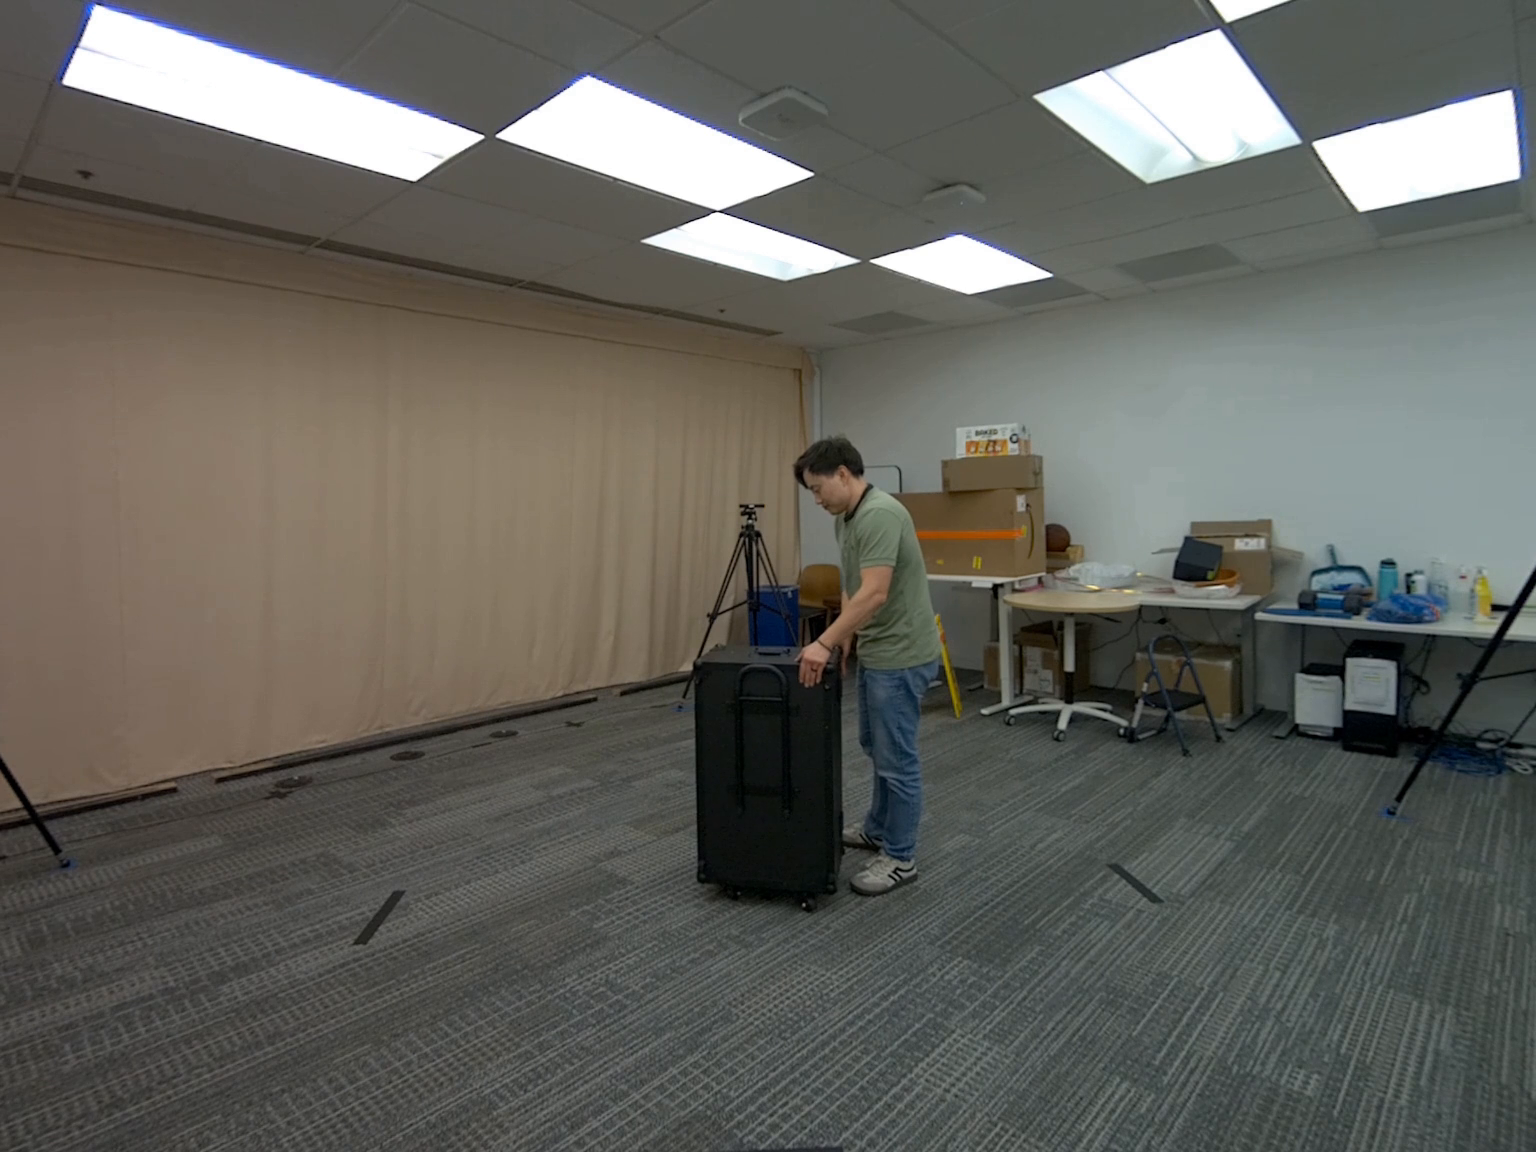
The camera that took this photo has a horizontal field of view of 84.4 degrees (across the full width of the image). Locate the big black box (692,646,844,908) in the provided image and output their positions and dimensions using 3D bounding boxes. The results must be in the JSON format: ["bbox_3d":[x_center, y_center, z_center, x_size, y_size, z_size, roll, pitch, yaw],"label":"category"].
[{"bbox_3d":[0.016,0.708,3.025,0.528,0.860,0.392,0,3,11],"label":"big black box"}]
